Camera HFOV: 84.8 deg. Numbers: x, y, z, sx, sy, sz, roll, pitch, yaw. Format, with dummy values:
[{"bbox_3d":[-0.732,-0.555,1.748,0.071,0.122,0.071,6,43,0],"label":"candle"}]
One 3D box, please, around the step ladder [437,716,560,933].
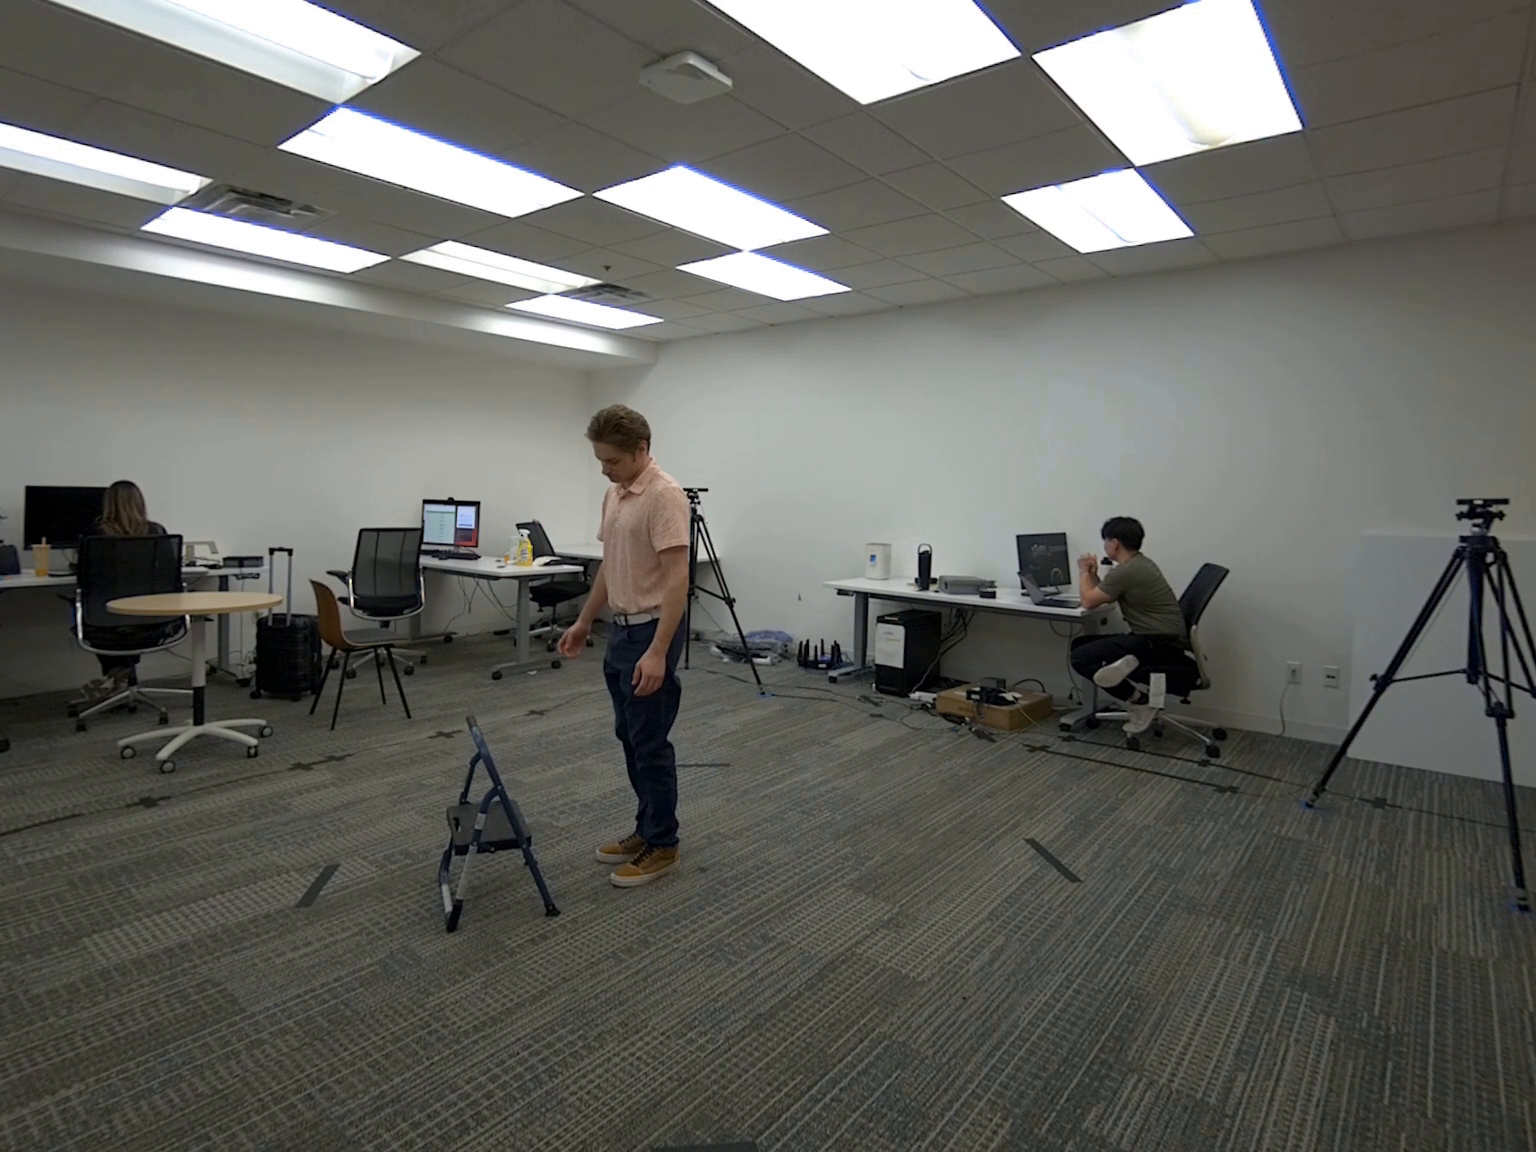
[{"bbox_3d":[-0.933,0.779,2.872,0.341,0.604,0.442,0,4,-25],"label":"step ladder"}]
